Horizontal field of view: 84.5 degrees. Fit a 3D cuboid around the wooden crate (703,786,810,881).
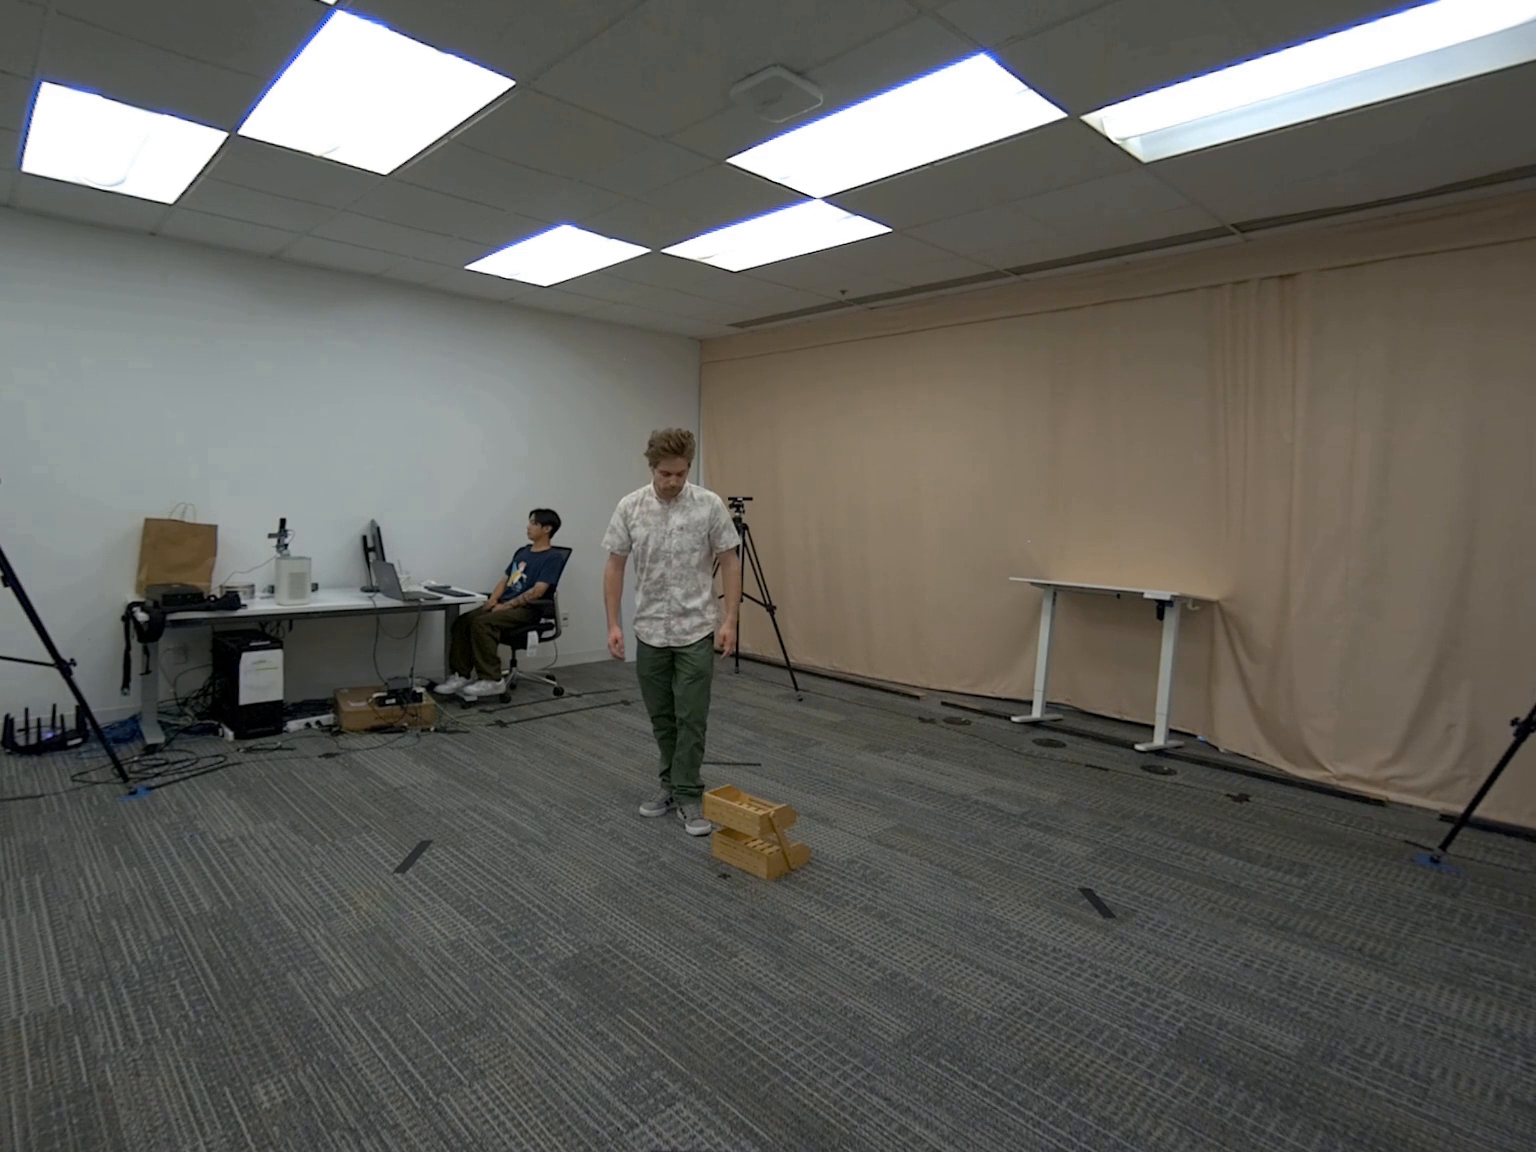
[{"bbox_3d":[-0.046,0.964,3.241,0.333,0.272,0.295,5,6,43],"label":"wooden crate"}]
